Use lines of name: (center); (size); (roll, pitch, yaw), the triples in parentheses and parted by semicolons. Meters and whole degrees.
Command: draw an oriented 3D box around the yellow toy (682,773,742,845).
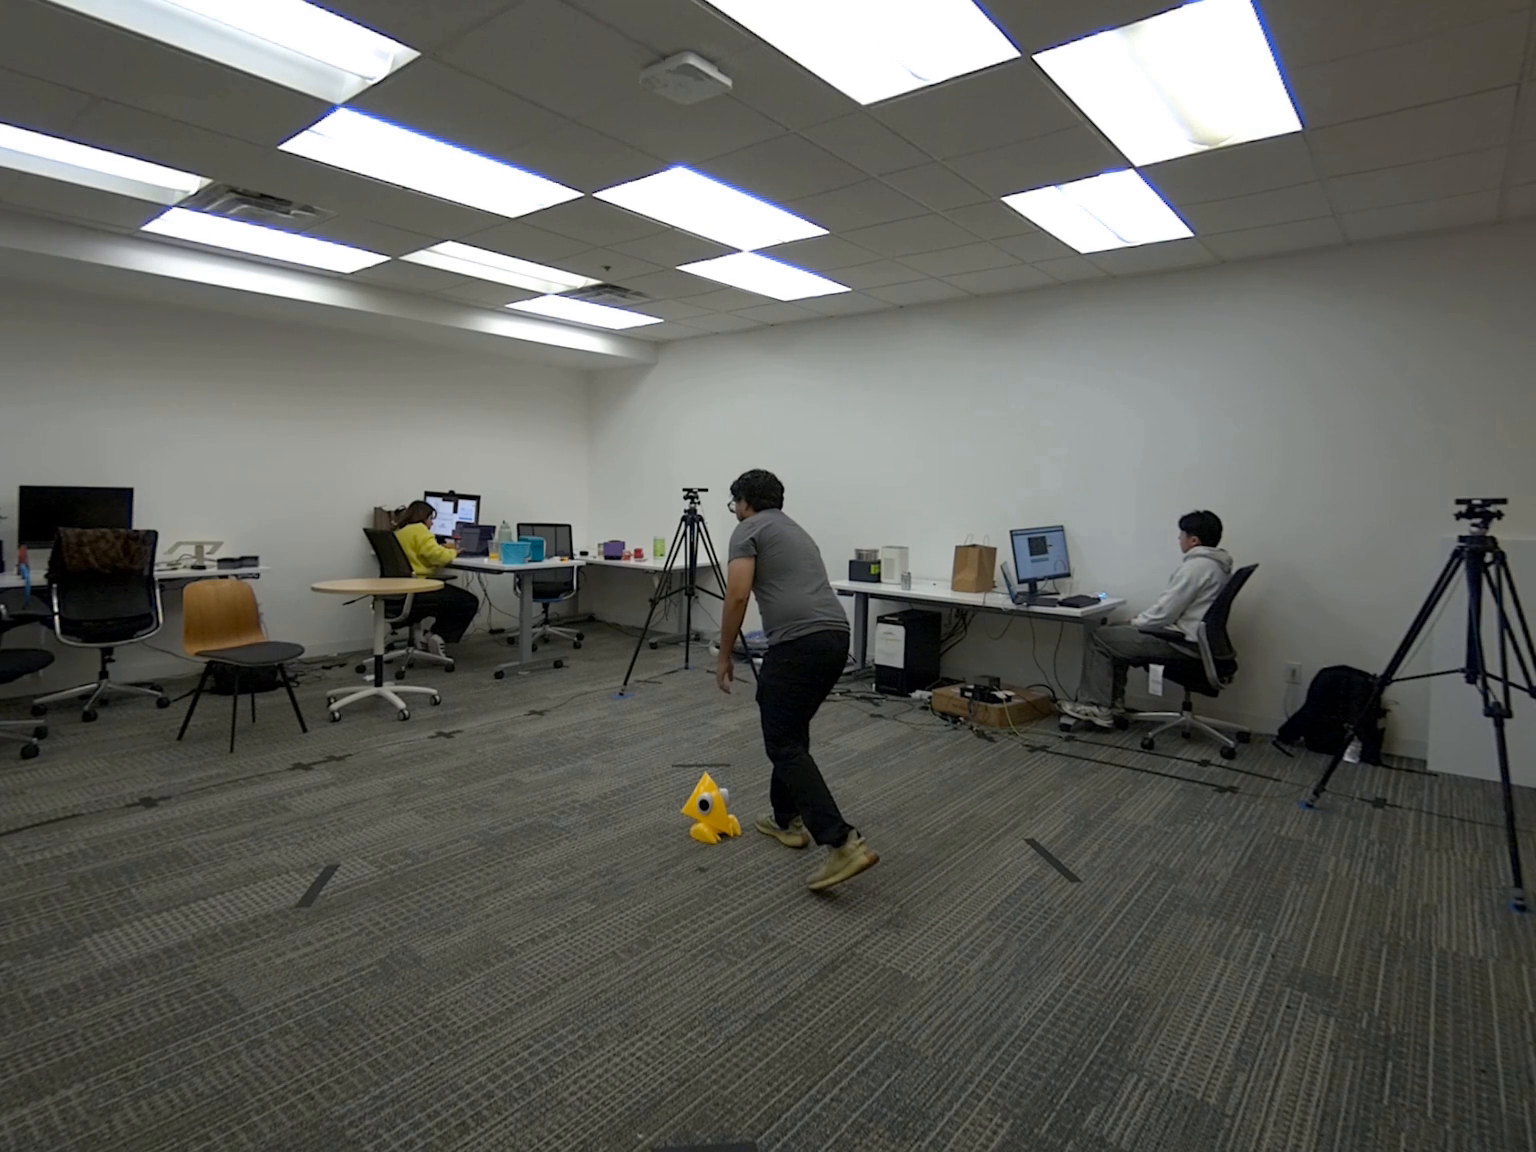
yellow toy: (-0.228, 0.925, 3.453); (0.199, 0.230, 0.200); (-3, 7, -40)
